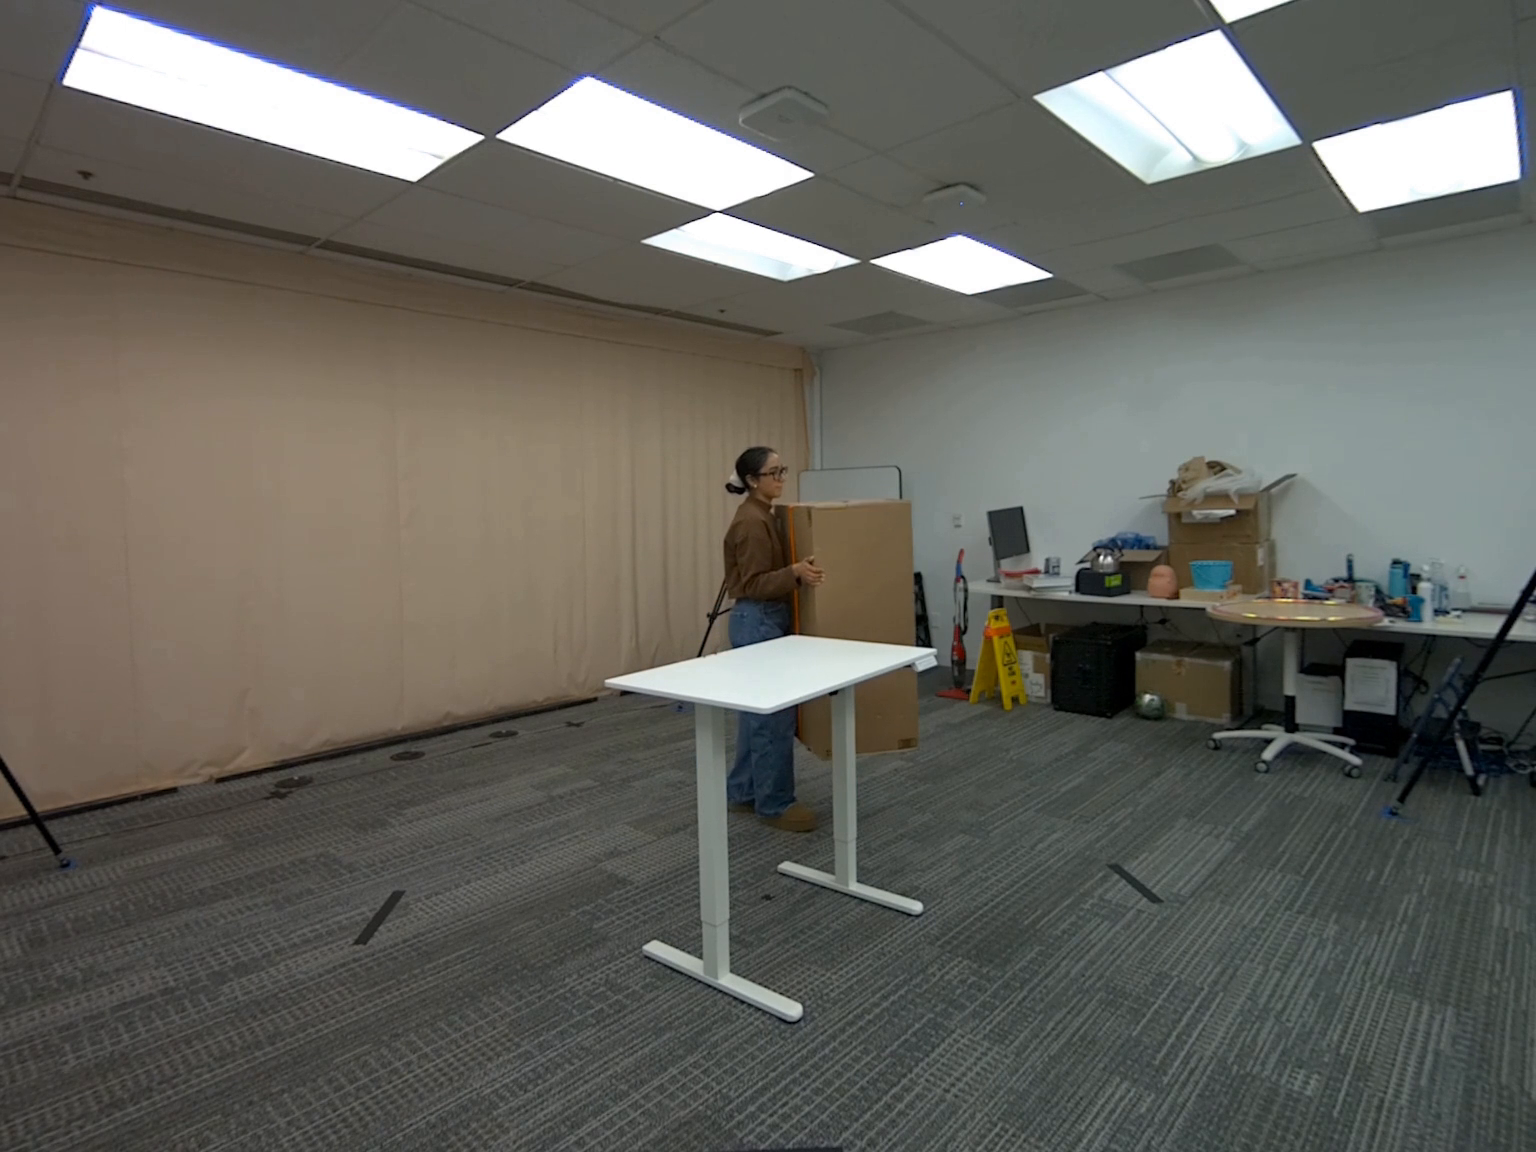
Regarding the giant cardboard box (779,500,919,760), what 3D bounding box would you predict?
[{"bbox_3d":[0.329,0.191,3.644,0.421,1.023,0.586,-4,4,-13],"label":"giant cardboard box"}]
